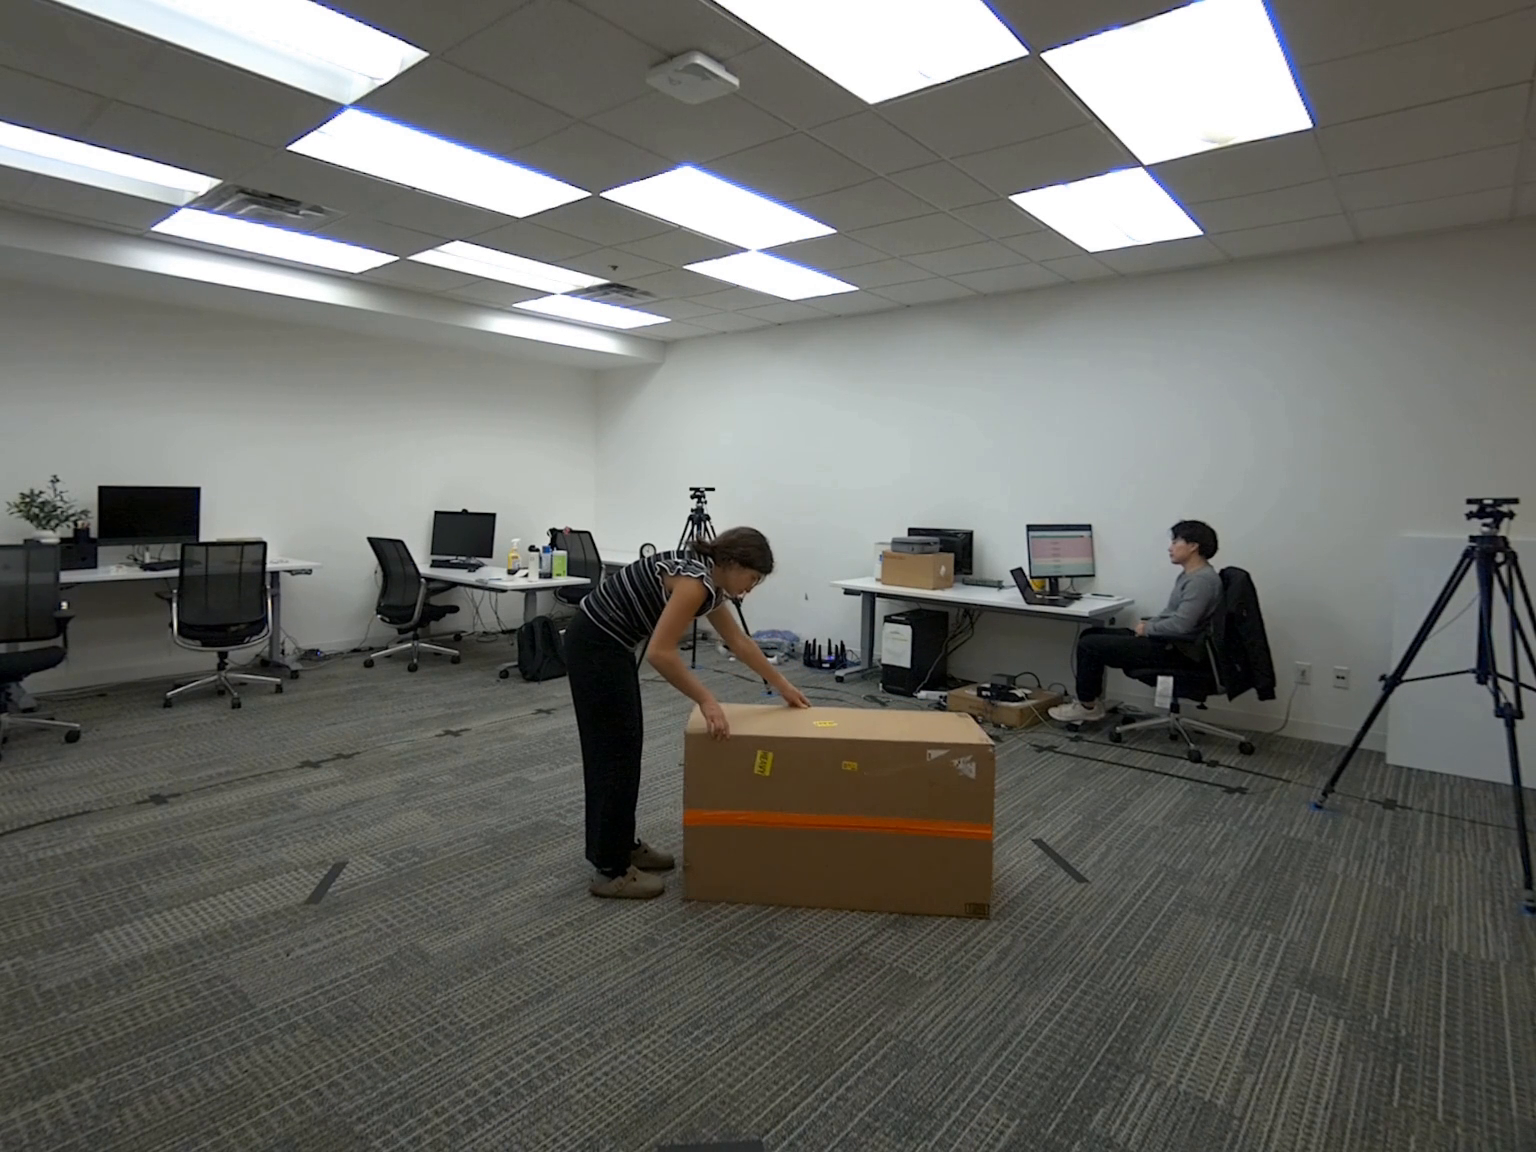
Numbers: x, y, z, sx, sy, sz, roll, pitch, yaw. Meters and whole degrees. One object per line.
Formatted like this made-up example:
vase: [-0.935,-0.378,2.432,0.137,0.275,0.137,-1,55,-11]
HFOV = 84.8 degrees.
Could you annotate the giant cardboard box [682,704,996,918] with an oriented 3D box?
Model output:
giant cardboard box: [0.220,0.794,3.010,1.030,0.576,0.426,1,4,3]
